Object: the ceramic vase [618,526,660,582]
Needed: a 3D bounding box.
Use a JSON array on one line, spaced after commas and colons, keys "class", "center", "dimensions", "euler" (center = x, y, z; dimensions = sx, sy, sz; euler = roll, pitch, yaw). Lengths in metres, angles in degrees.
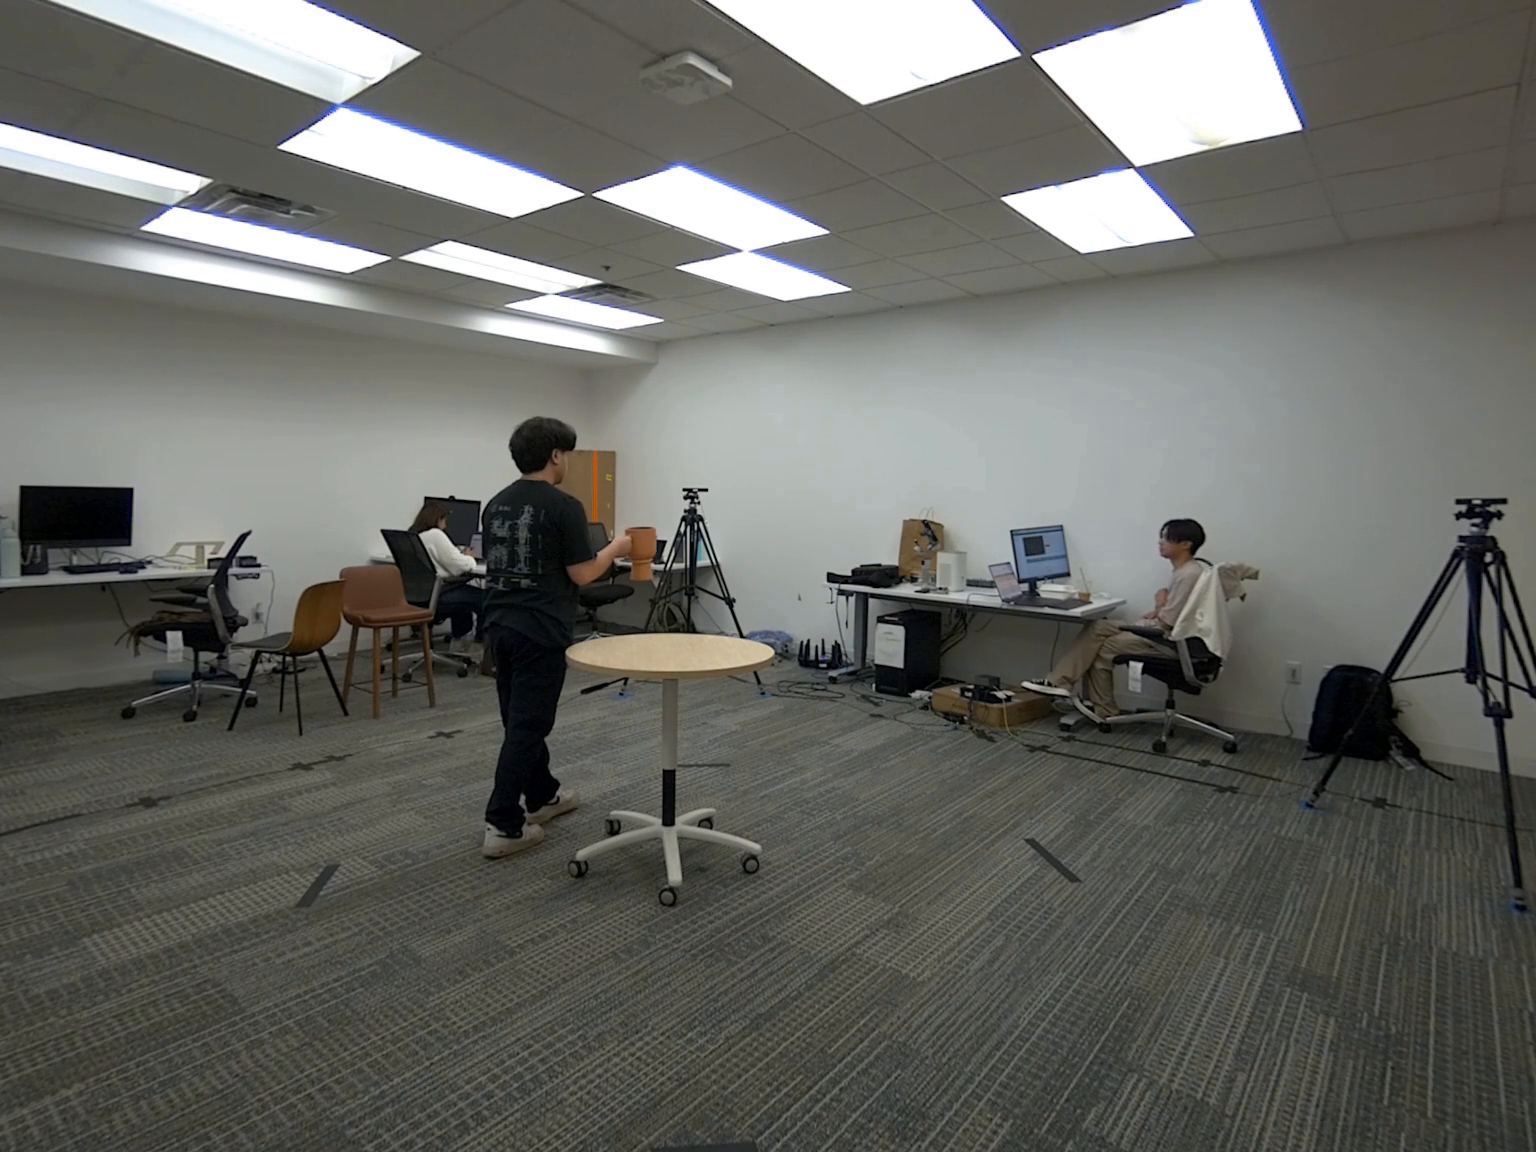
[{"class": "ceramic vase", "center": [-0.561, -0.098, 3.636], "dimensions": [0.156, 0.218, 0.137], "euler": [-1, 6, -14]}]
